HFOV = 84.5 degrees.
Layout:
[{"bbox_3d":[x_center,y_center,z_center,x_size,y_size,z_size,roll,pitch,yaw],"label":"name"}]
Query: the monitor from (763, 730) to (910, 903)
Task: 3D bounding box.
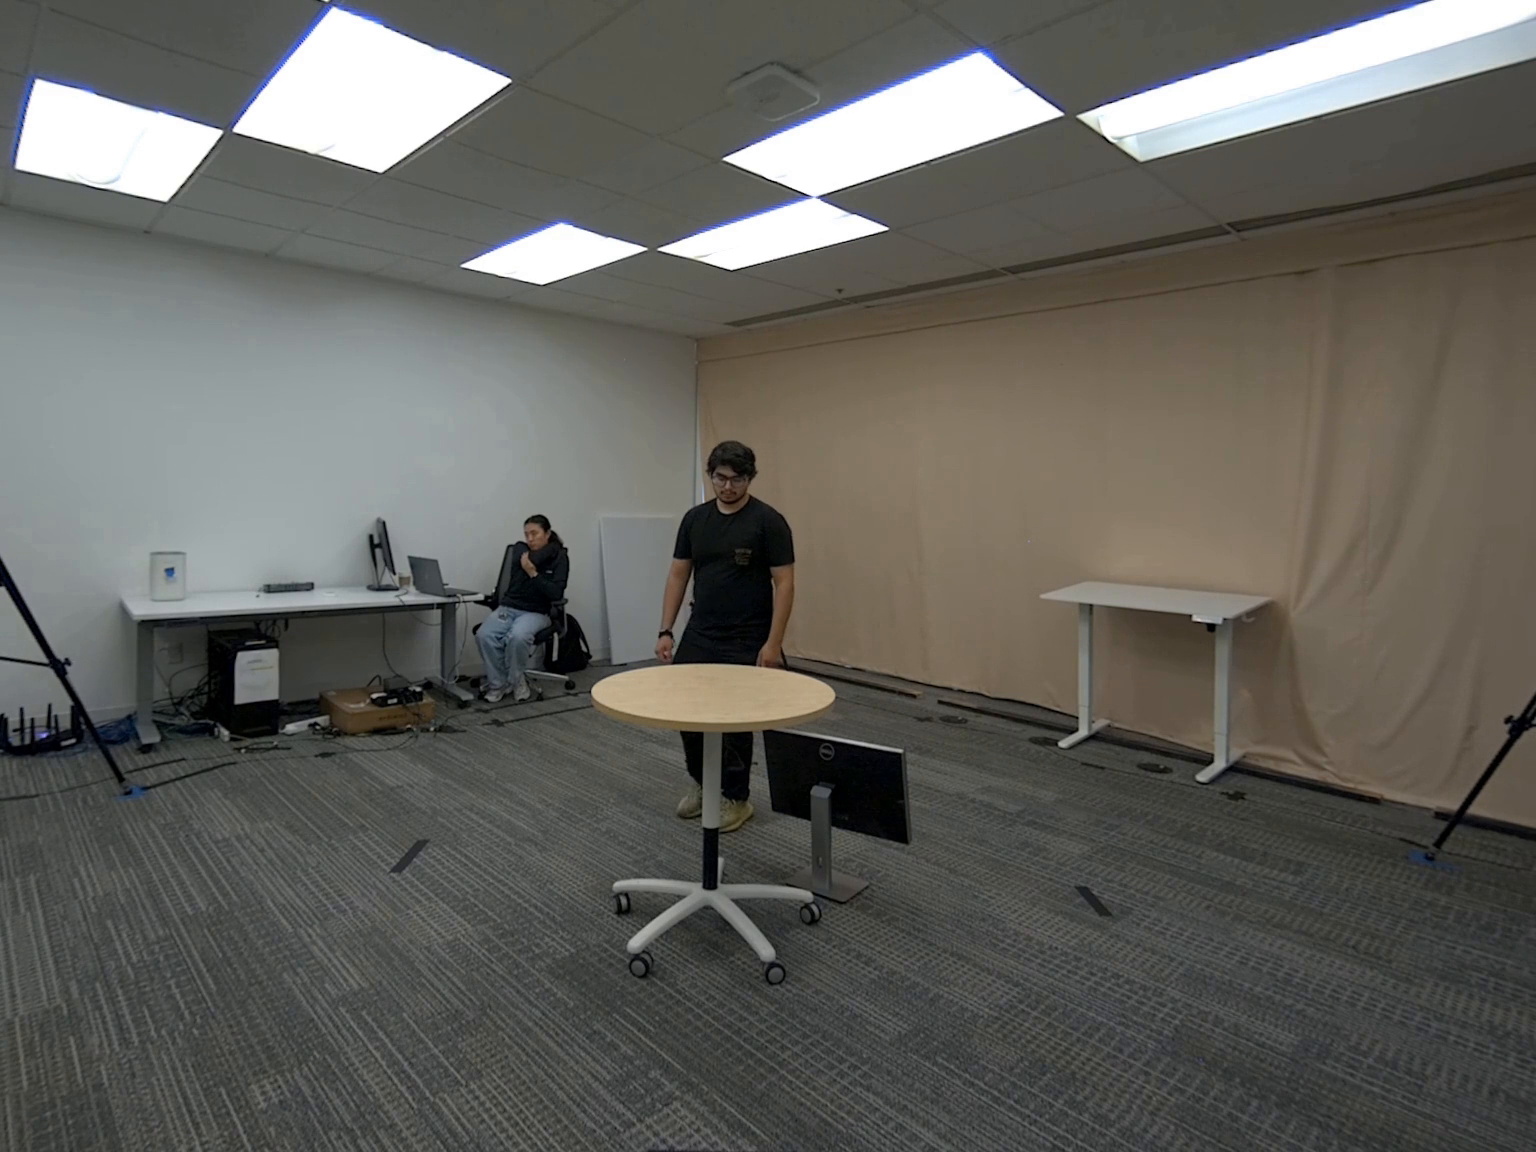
[{"bbox_3d":[0.203,0.853,3.010,0.578,0.550,0.207,4,11,33],"label":"monitor"}]
